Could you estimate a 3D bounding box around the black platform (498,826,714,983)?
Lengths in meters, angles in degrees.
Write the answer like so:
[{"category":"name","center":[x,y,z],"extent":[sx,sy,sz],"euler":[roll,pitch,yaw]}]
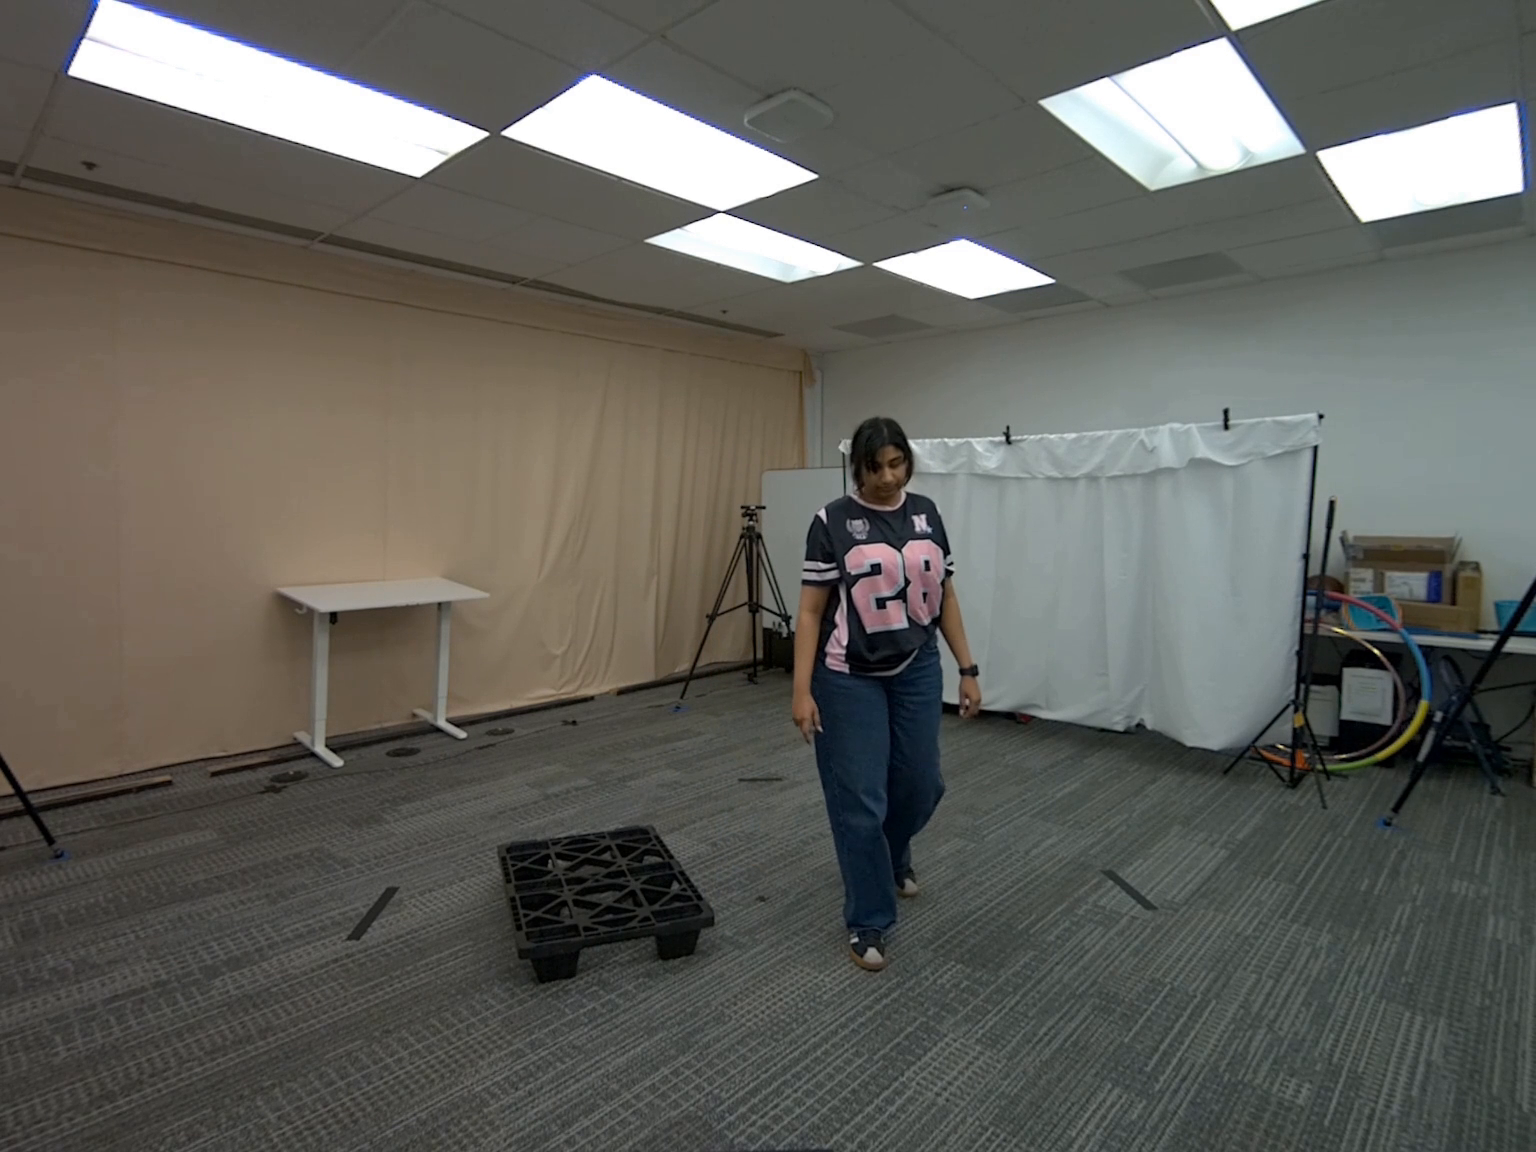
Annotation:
[{"category":"black platform","center":[-0.584,1.090,2.876],"extent":[0.593,0.143,0.824],"euler":[-2,5,-21]}]
